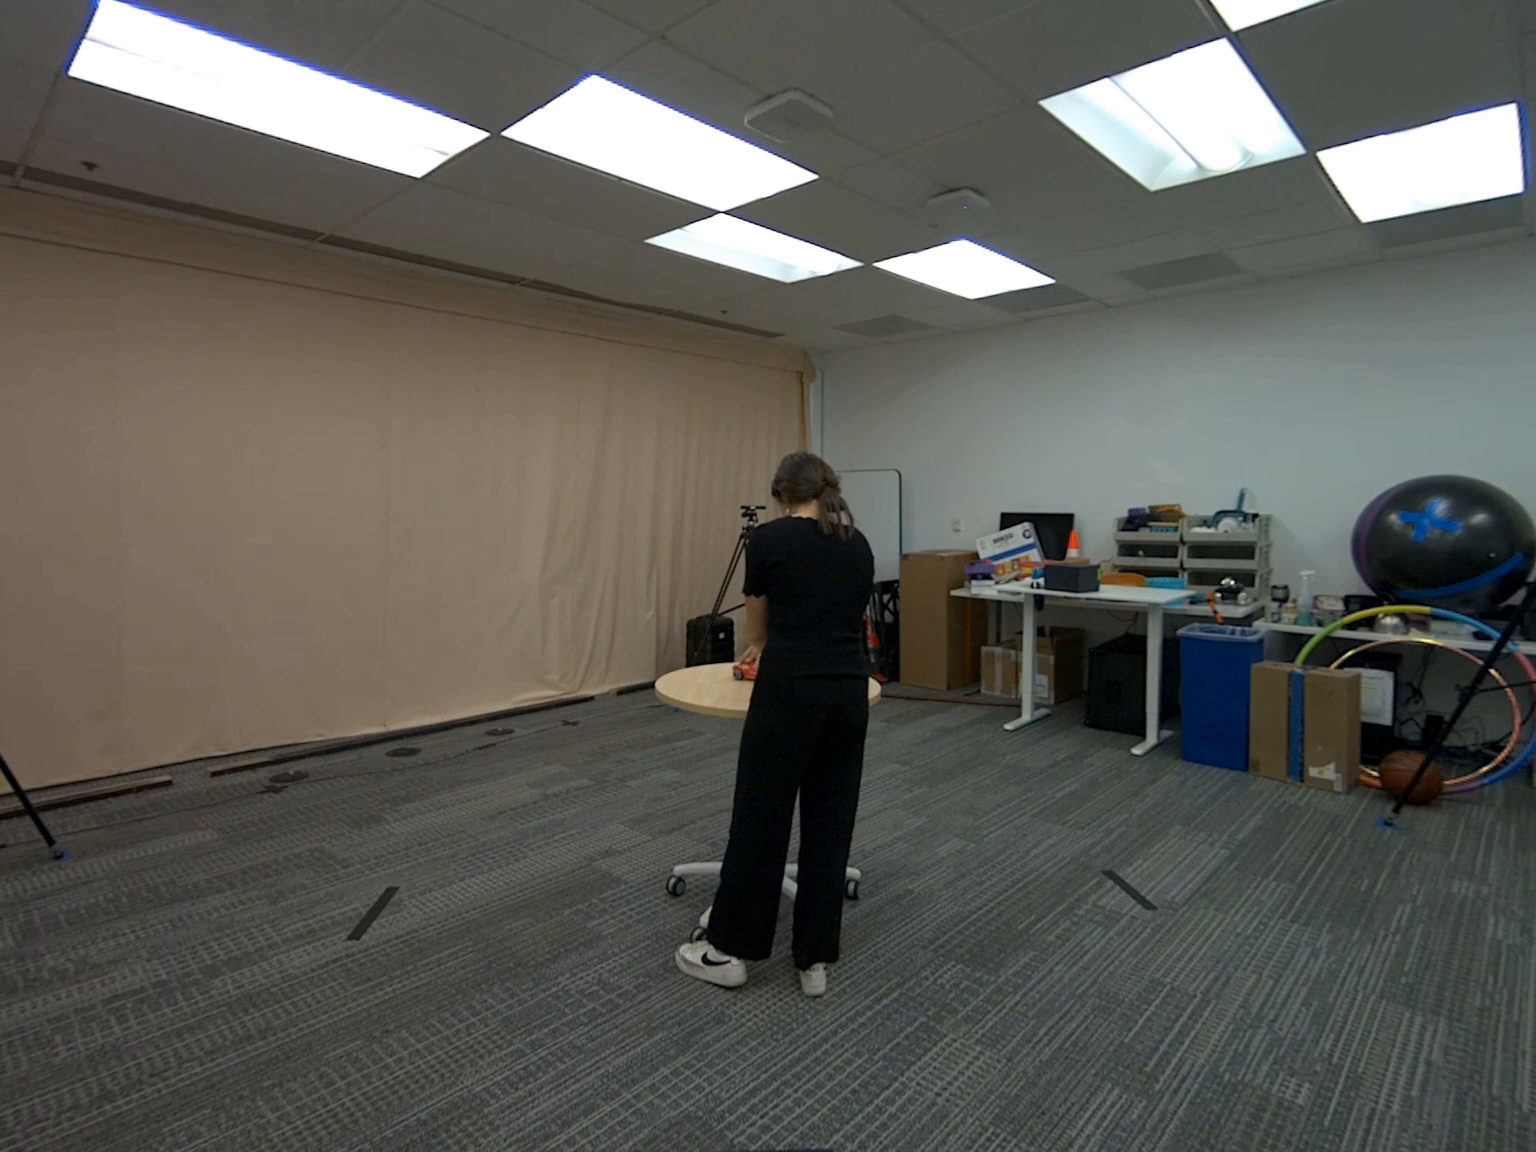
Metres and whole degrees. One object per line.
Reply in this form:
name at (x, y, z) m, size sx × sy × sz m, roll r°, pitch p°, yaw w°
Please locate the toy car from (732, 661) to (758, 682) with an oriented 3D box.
toy car at (0.011, 0.335, 2.906) m, size 0.261 × 0.083 × 0.126 m, roll -10°, pitch -4°, yaw 39°
